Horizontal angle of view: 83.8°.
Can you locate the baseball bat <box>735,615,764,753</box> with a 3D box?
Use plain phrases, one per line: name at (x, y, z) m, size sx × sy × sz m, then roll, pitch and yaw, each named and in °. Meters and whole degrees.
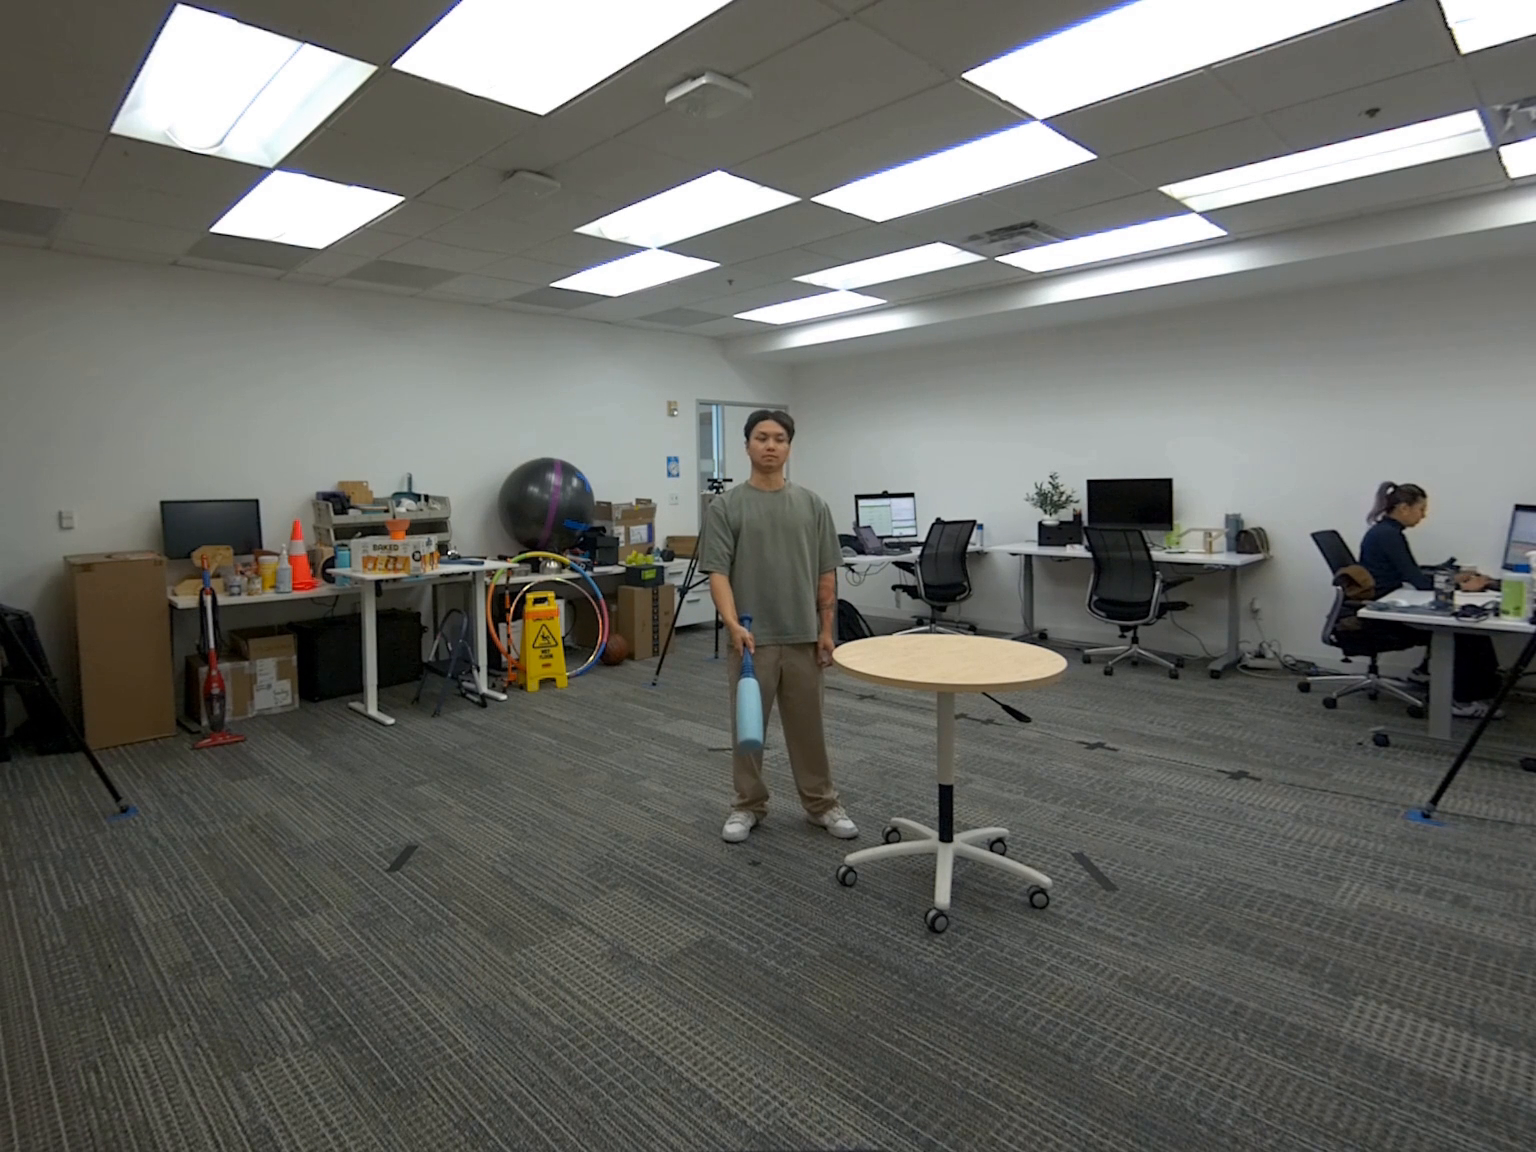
baseball bat at (-0.066, 0.363, 2.963) m, size 0.089 × 0.086 × 0.557 m, roll -1°, pitch 45°, yaw 2°
